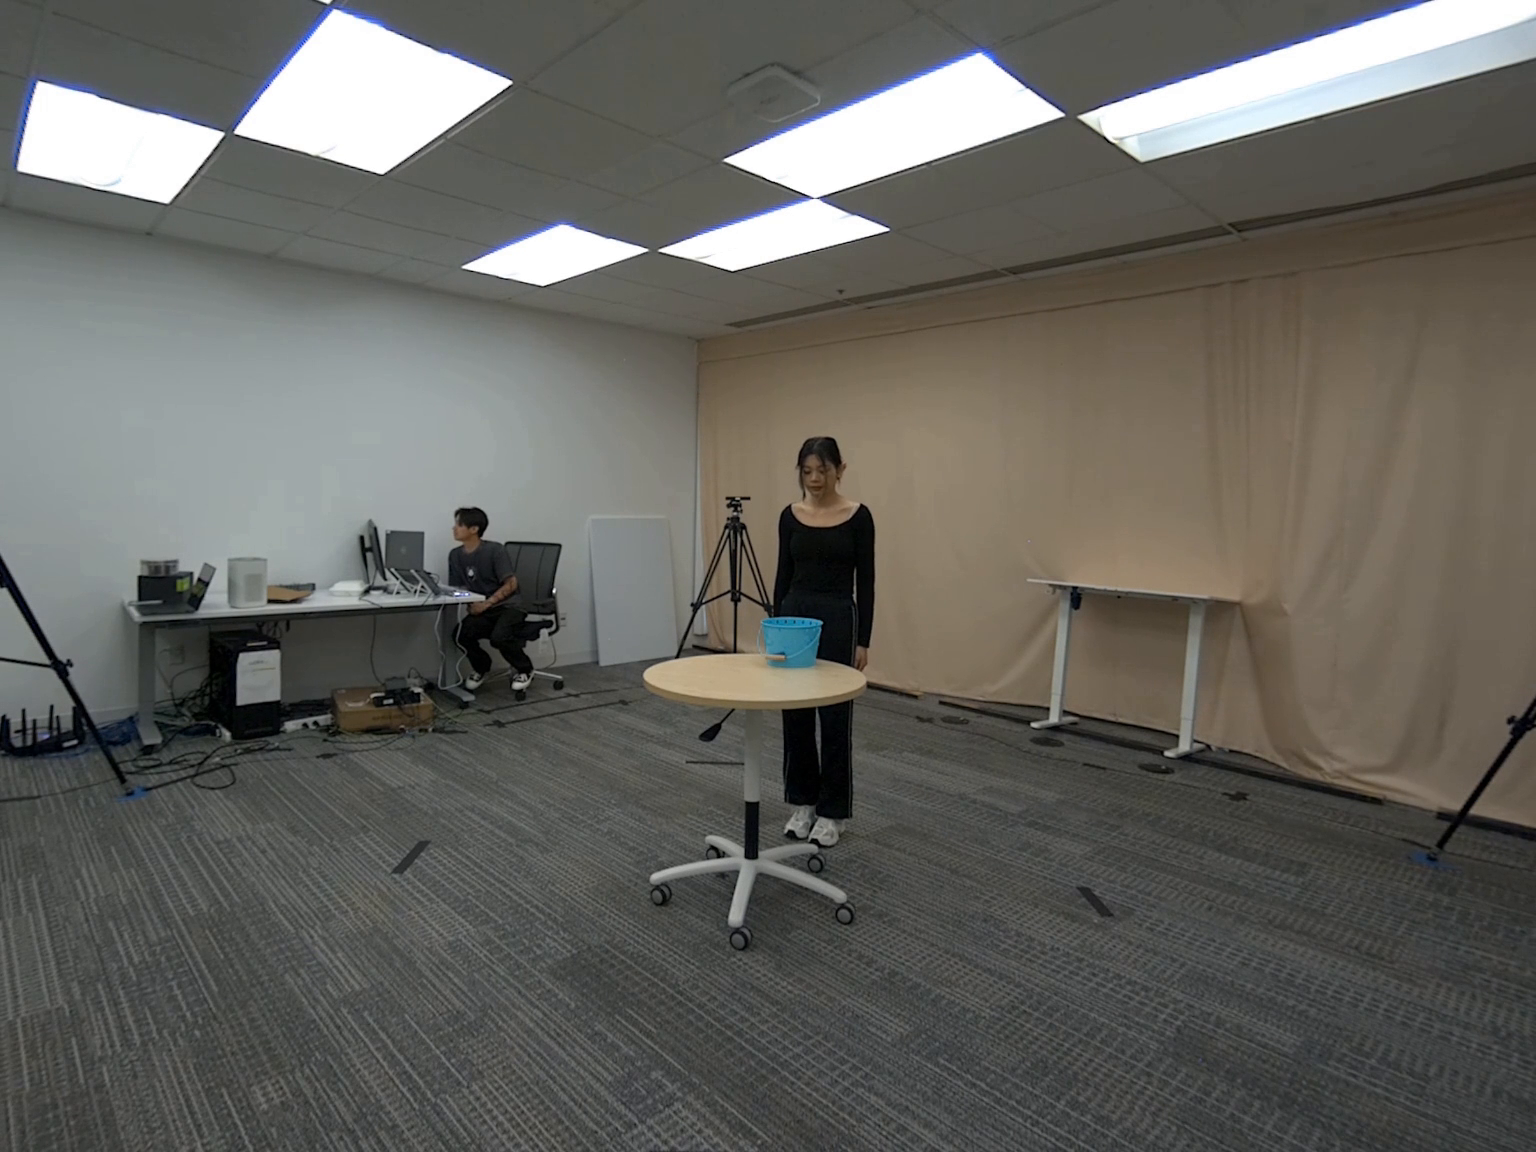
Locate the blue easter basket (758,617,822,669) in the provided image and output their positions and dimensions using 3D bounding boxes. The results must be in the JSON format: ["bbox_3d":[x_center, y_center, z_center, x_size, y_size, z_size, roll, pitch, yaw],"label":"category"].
[{"bbox_3d":[0.063,0.250,3.127,0.243,0.156,0.244,0,2,-1],"label":"blue easter basket"}]
